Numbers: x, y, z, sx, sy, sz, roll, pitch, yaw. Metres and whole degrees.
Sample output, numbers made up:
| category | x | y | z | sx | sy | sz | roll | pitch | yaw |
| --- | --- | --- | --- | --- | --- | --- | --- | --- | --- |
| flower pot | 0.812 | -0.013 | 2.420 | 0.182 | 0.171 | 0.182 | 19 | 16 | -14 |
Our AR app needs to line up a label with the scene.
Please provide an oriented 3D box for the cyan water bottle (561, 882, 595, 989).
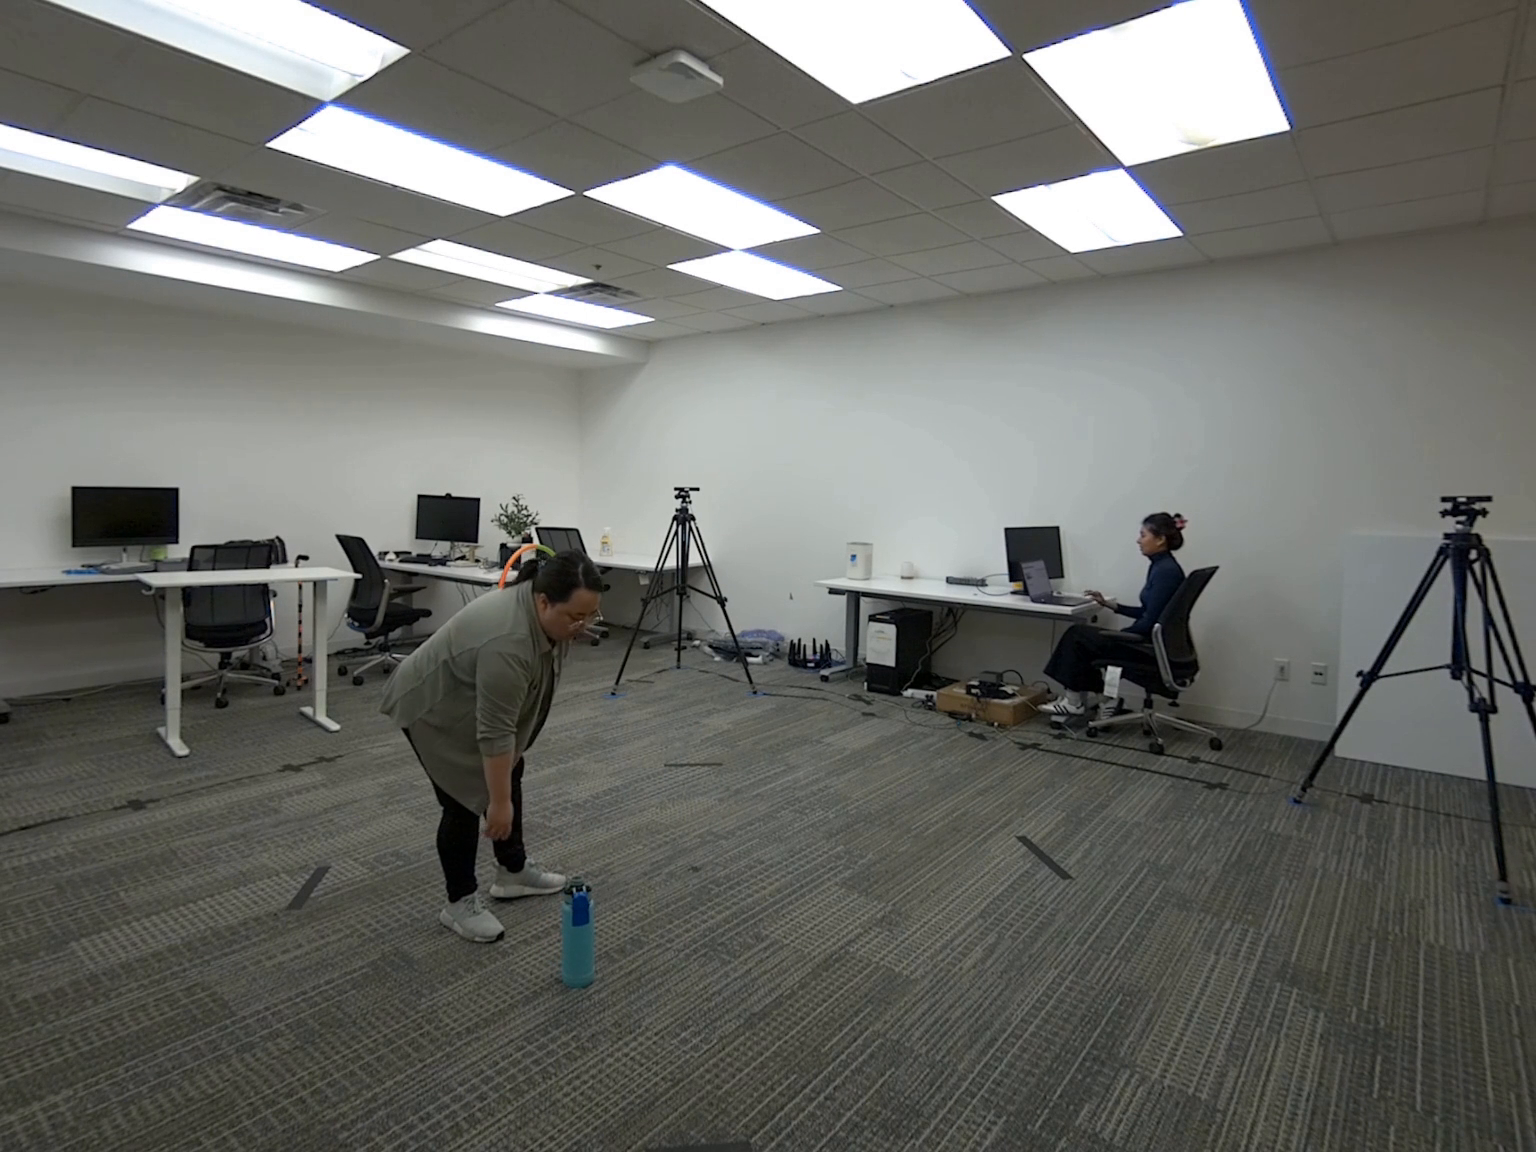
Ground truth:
| category | x | y | z | sx | sy | sz | roll | pitch | yaw |
| --- | --- | --- | --- | --- | --- | --- | --- | --- | --- |
| cyan water bottle | -0.542 | 0.995 | 2.384 | 0.092 | 0.282 | 0.093 | 1 | 4 | -2 |
